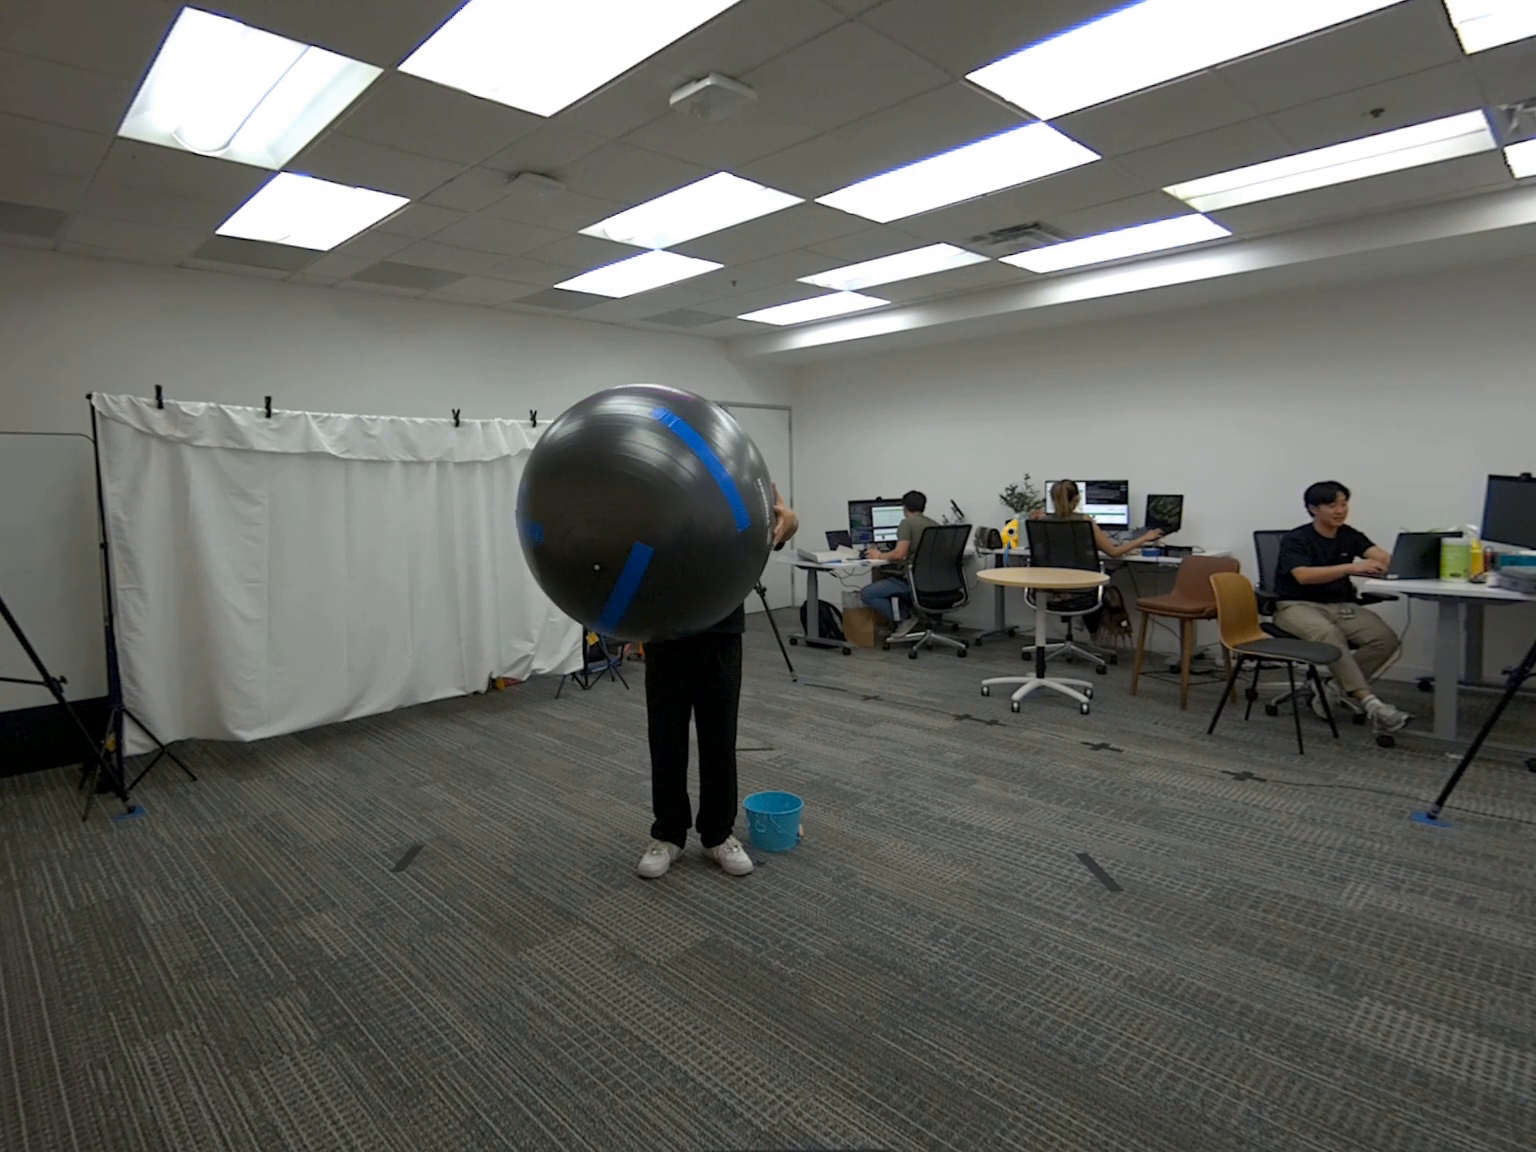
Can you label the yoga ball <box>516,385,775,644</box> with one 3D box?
[{"bbox_3d":[-0.358,-0.178,2.534,0.757,0.755,0.762,-1,5,-2],"label":"yoga ball"}]
